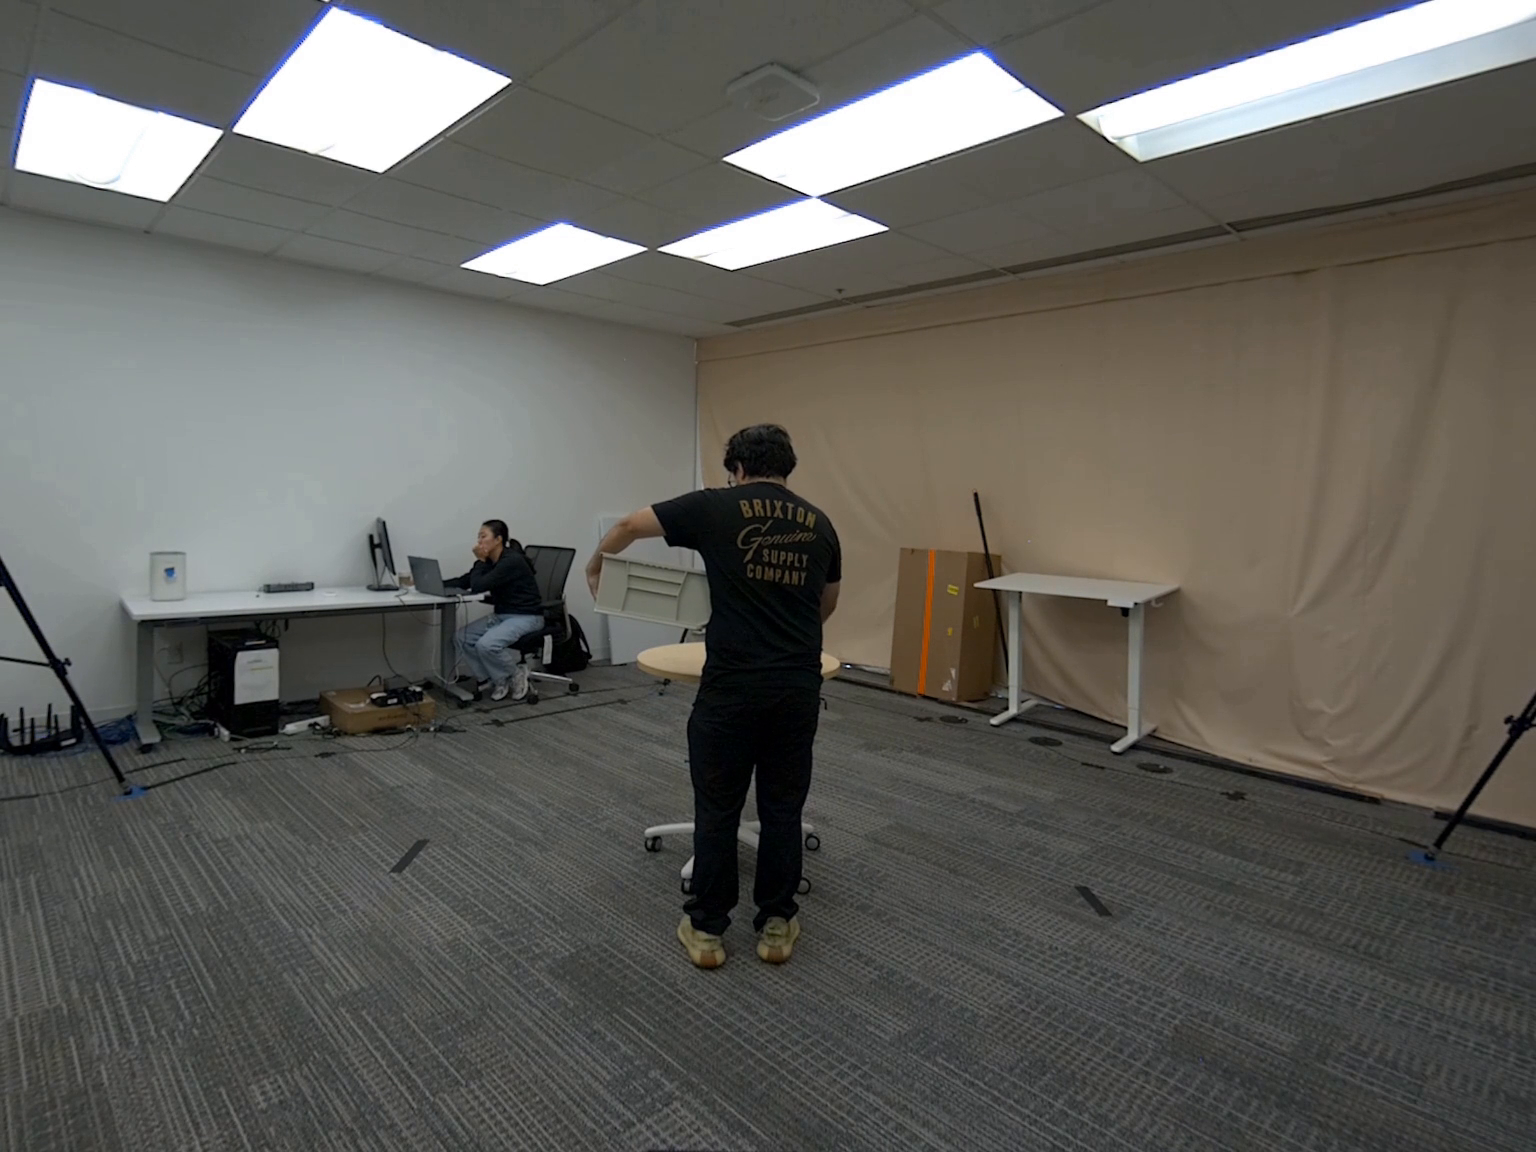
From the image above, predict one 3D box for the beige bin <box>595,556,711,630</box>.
[{"bbox_3d":[-0.344,0.067,2.707,0.378,0.189,0.421,11,-3,0],"label":"beige bin"}]
